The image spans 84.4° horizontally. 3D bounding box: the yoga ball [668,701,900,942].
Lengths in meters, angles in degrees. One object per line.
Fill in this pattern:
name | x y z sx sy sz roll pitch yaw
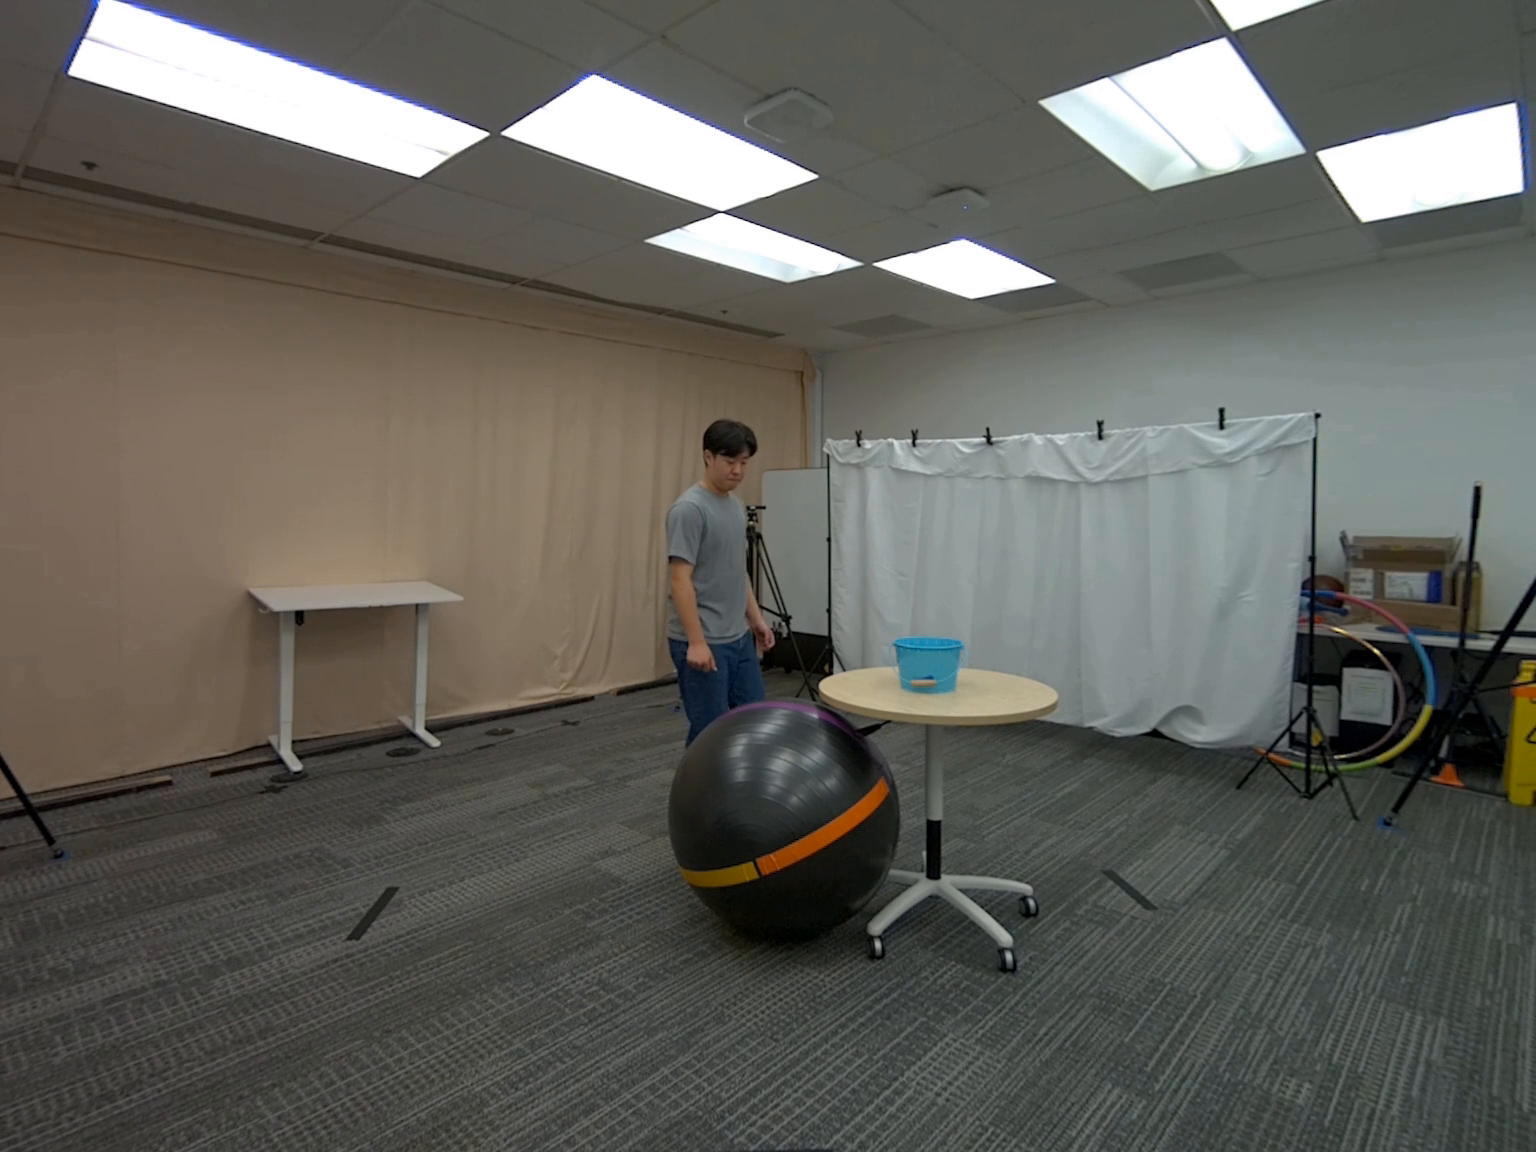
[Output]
yoga ball | 0.051 0.790 2.779 0.757 0.756 0.760 0 4 -2
